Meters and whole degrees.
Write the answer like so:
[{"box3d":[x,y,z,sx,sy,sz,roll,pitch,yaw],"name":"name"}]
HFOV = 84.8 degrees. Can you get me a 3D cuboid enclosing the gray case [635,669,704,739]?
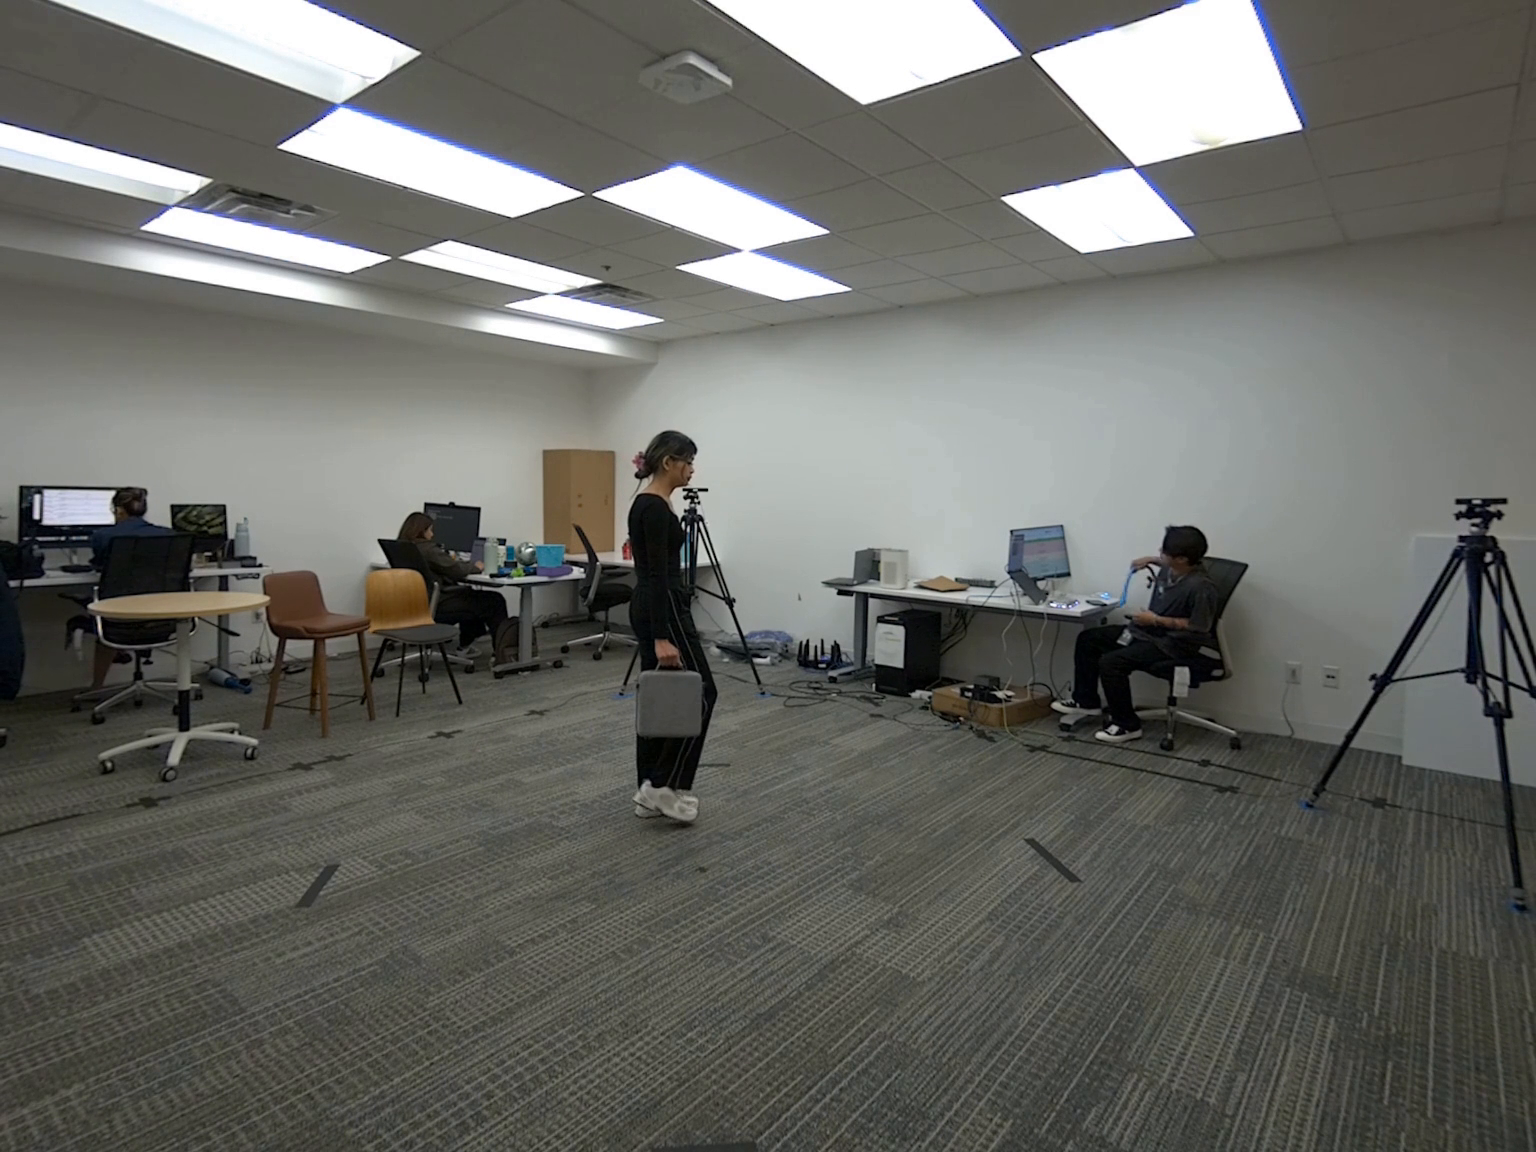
[{"box3d":[-0.396,0.495,3.351,0.254,0.261,0.105,2,-3,-9],"name":"gray case"}]
